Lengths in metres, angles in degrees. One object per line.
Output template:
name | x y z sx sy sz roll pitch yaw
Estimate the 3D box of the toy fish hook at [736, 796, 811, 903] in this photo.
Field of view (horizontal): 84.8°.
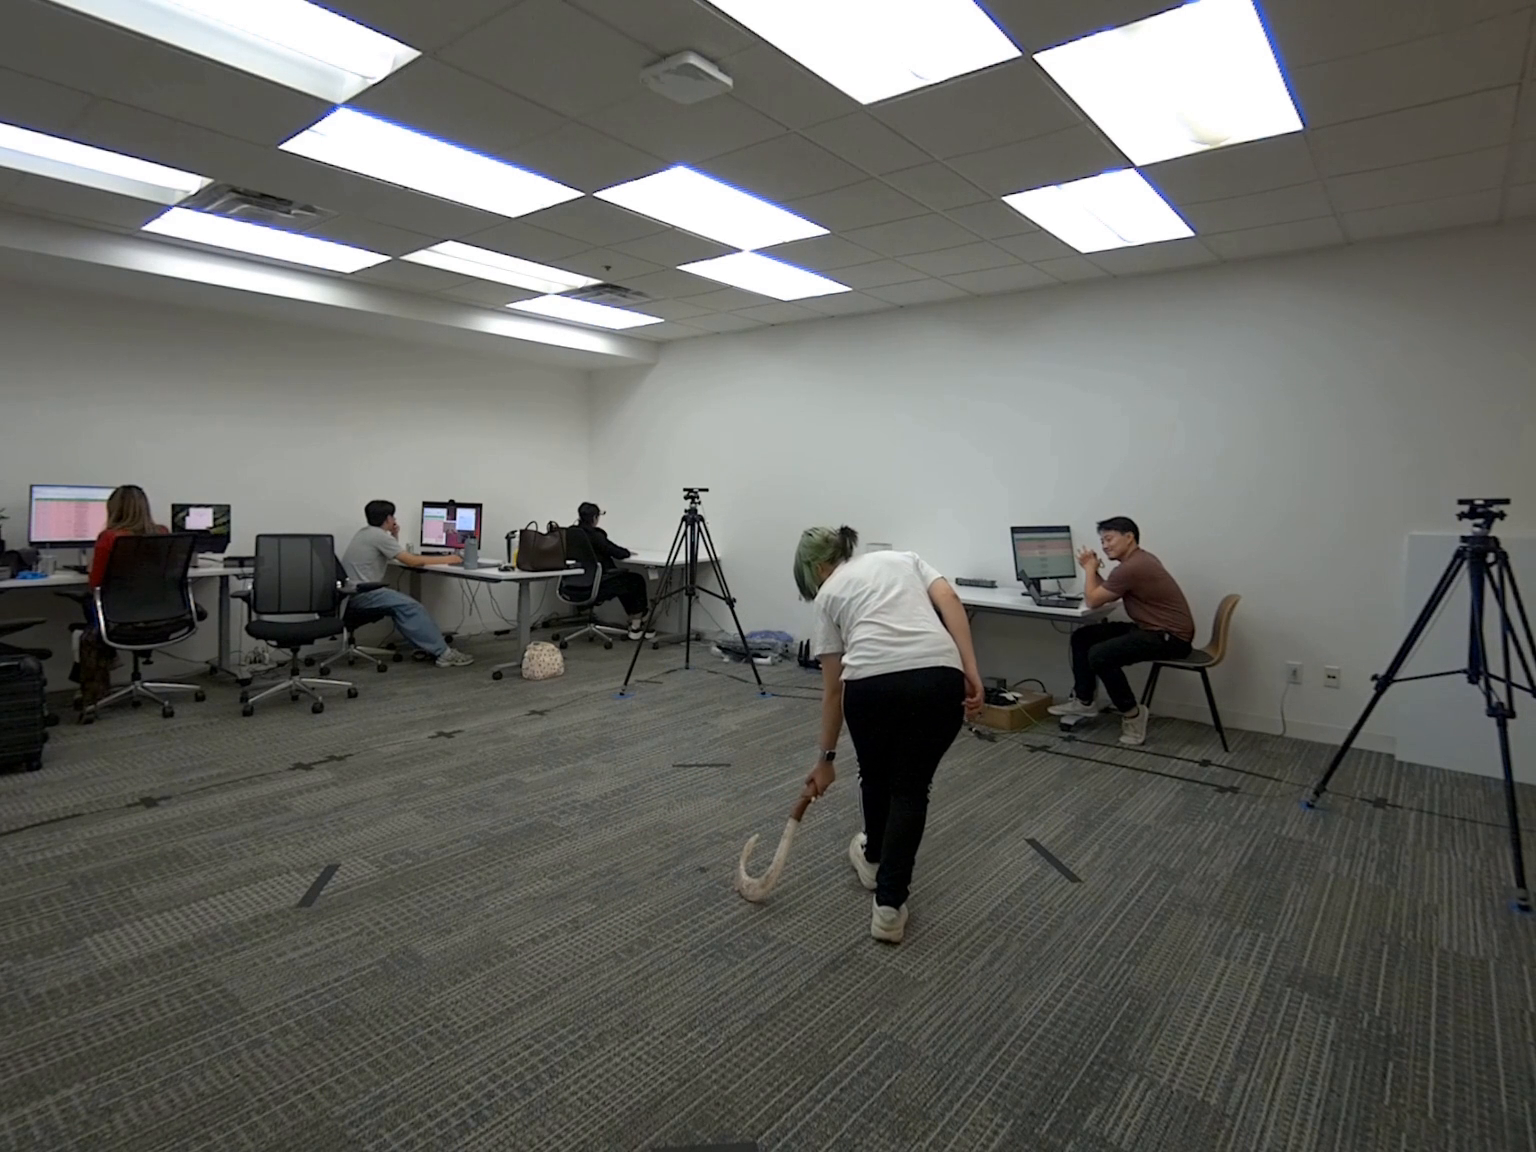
toy fish hook | 0.030 0.881 2.970 0.046 0.508 0.232 42 -17 -30
